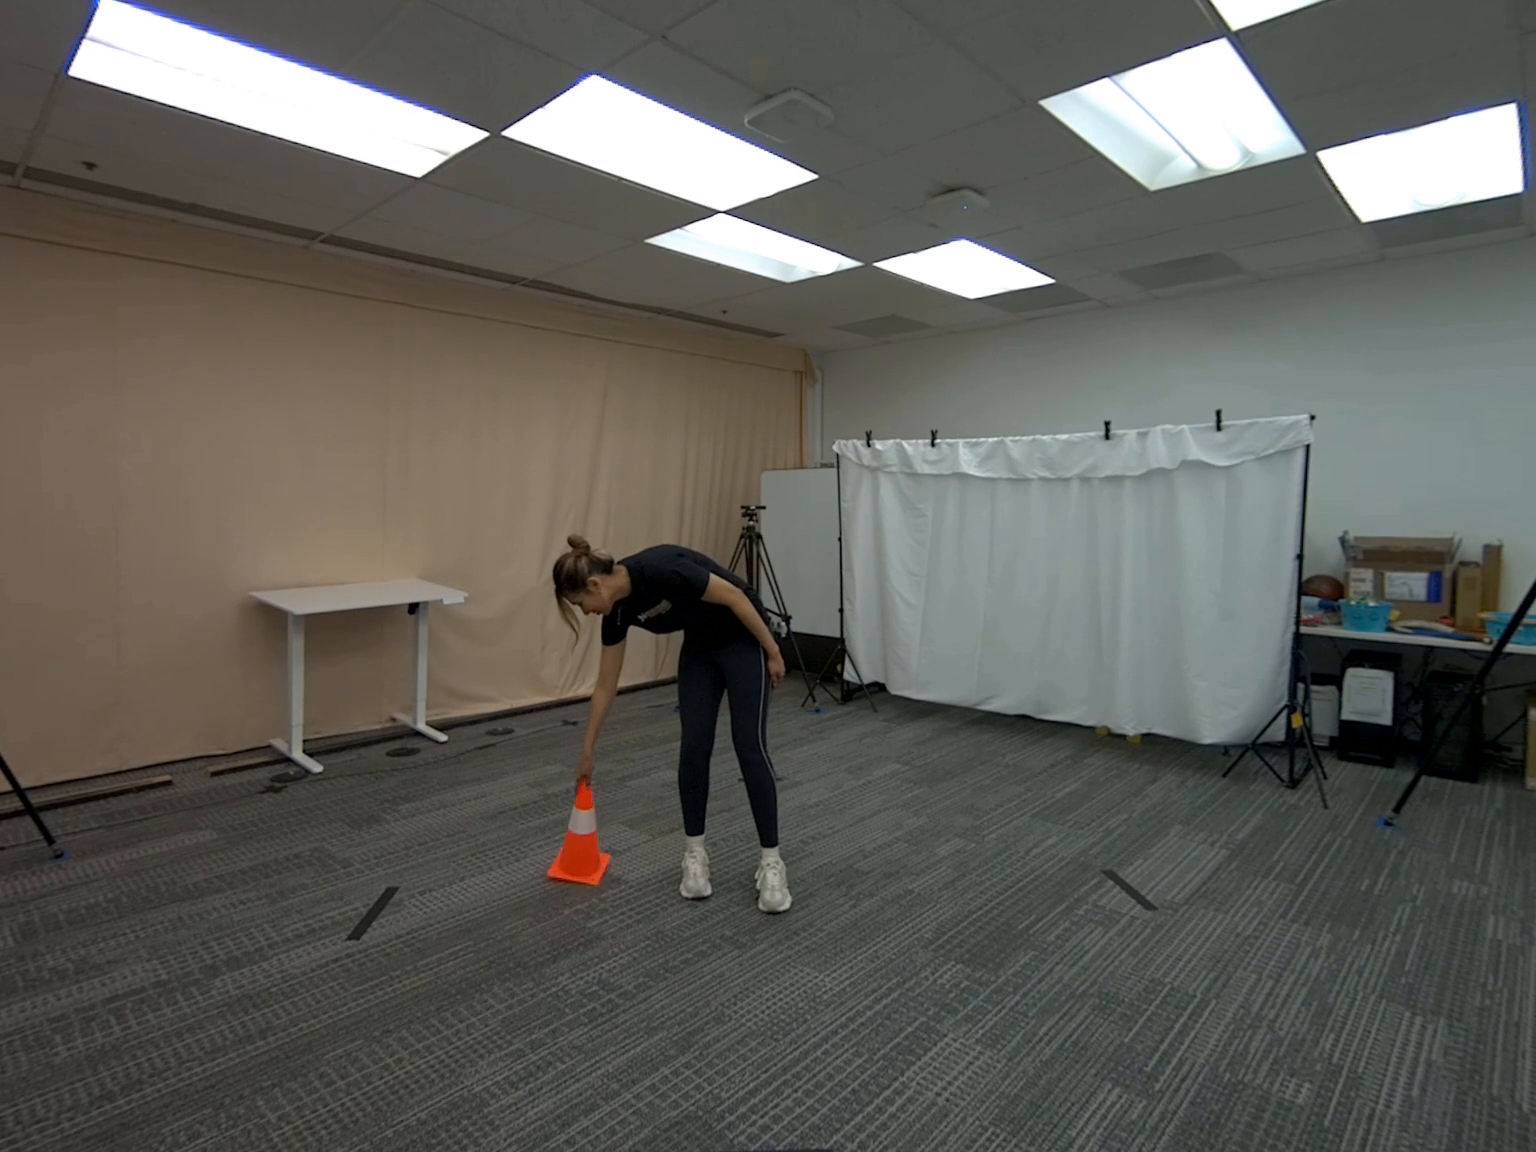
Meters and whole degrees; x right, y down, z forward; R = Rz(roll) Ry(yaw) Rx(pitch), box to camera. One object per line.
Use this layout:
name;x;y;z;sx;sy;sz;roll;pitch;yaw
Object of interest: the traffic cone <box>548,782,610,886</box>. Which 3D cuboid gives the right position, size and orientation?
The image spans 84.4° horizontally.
traffic cone;-0.684;0.933;3.148;0.206;0.381;0.203;8;14;5
